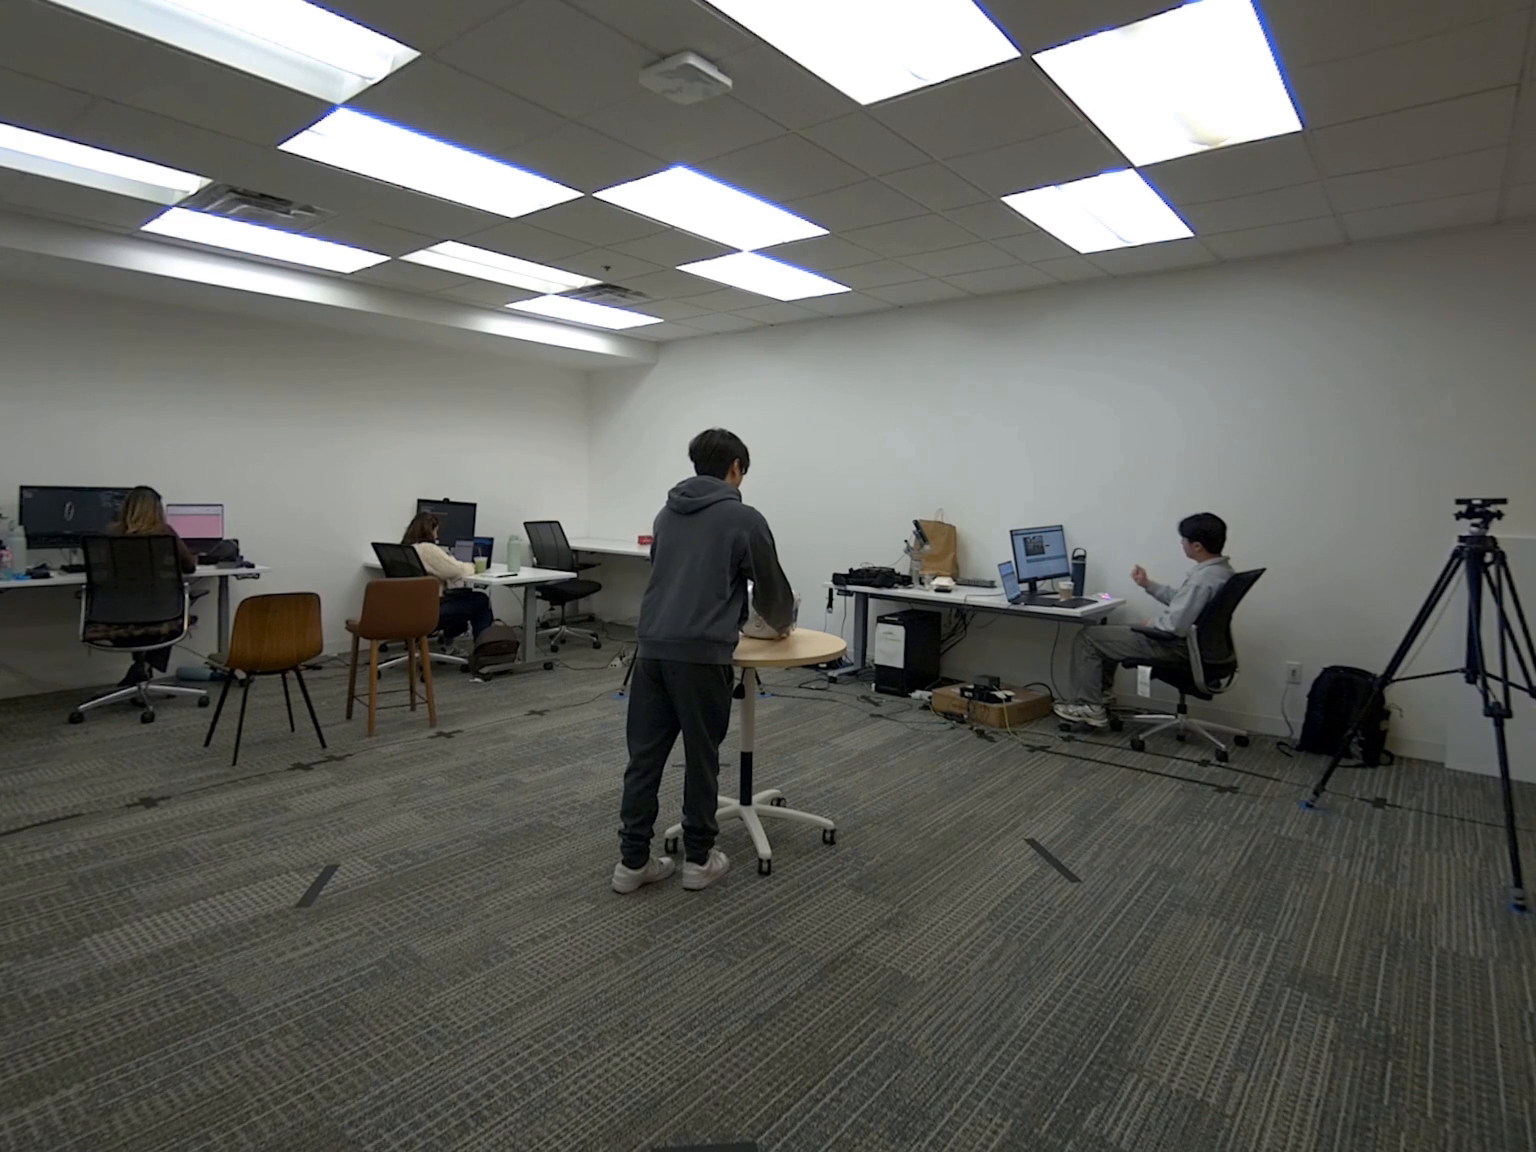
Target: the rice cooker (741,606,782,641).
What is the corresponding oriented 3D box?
[{"bbox_3d":[-0.010,0.126,3.449,0.225,0.232,0.213,2,4,19],"label":"rice cooker"}]
